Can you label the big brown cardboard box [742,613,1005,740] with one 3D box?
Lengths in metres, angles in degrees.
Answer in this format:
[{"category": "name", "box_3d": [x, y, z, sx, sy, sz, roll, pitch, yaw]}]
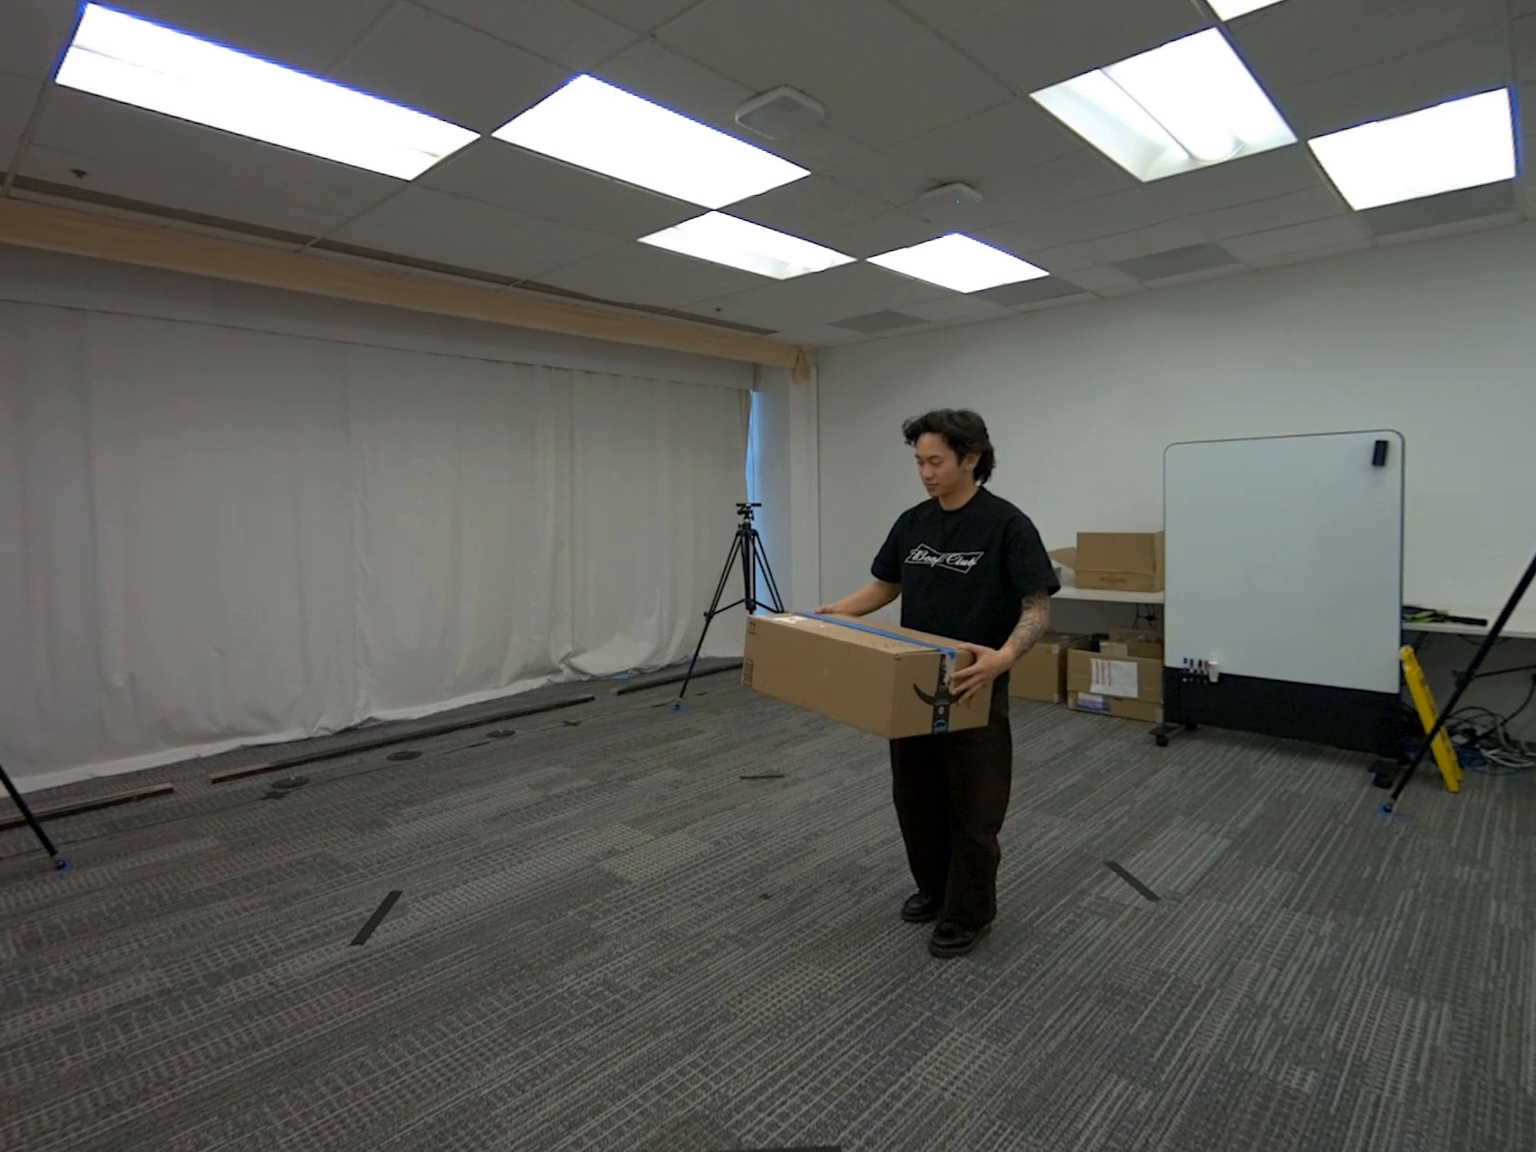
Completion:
[{"category": "big brown cardboard box", "box_3d": [0.265, 0.261, 2.394, 0.404, 0.232, 0.609, 3, 6, -40]}]
